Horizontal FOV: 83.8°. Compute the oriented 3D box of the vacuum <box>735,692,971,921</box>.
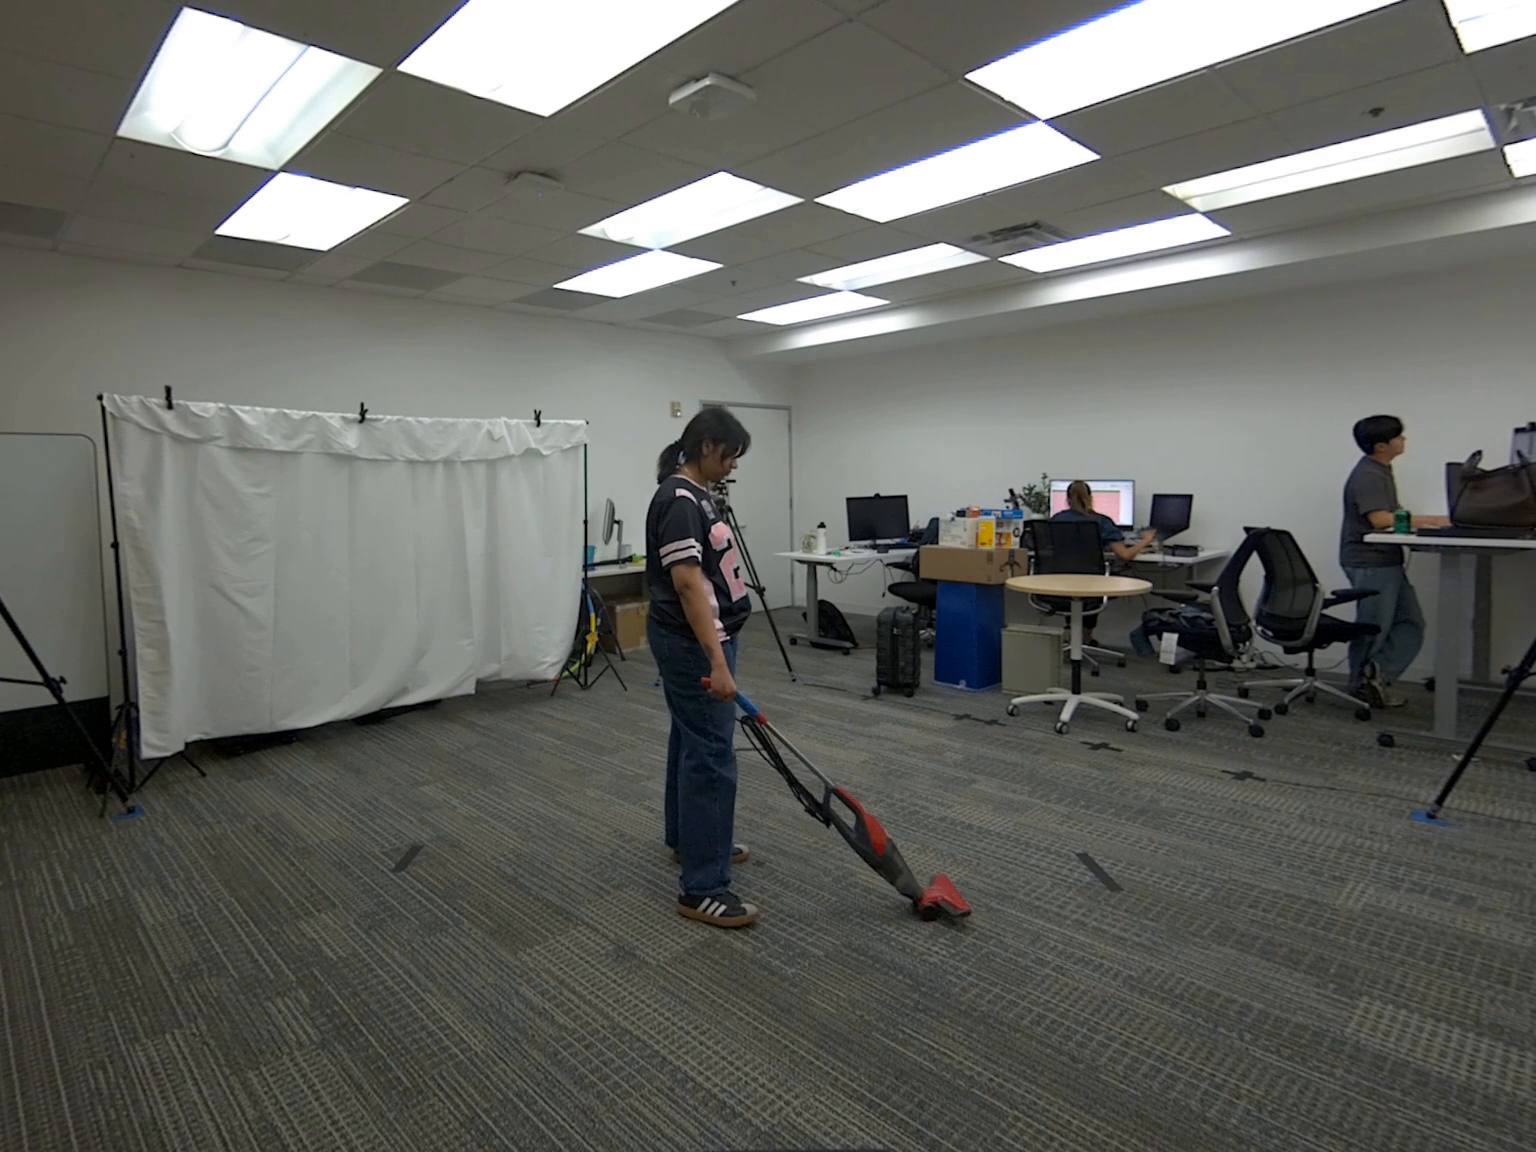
[{"bbox_3d":[0.172,0.696,2.709,1.044,0.144,0.254,43,-1,-4],"label":"vacuum"}]
